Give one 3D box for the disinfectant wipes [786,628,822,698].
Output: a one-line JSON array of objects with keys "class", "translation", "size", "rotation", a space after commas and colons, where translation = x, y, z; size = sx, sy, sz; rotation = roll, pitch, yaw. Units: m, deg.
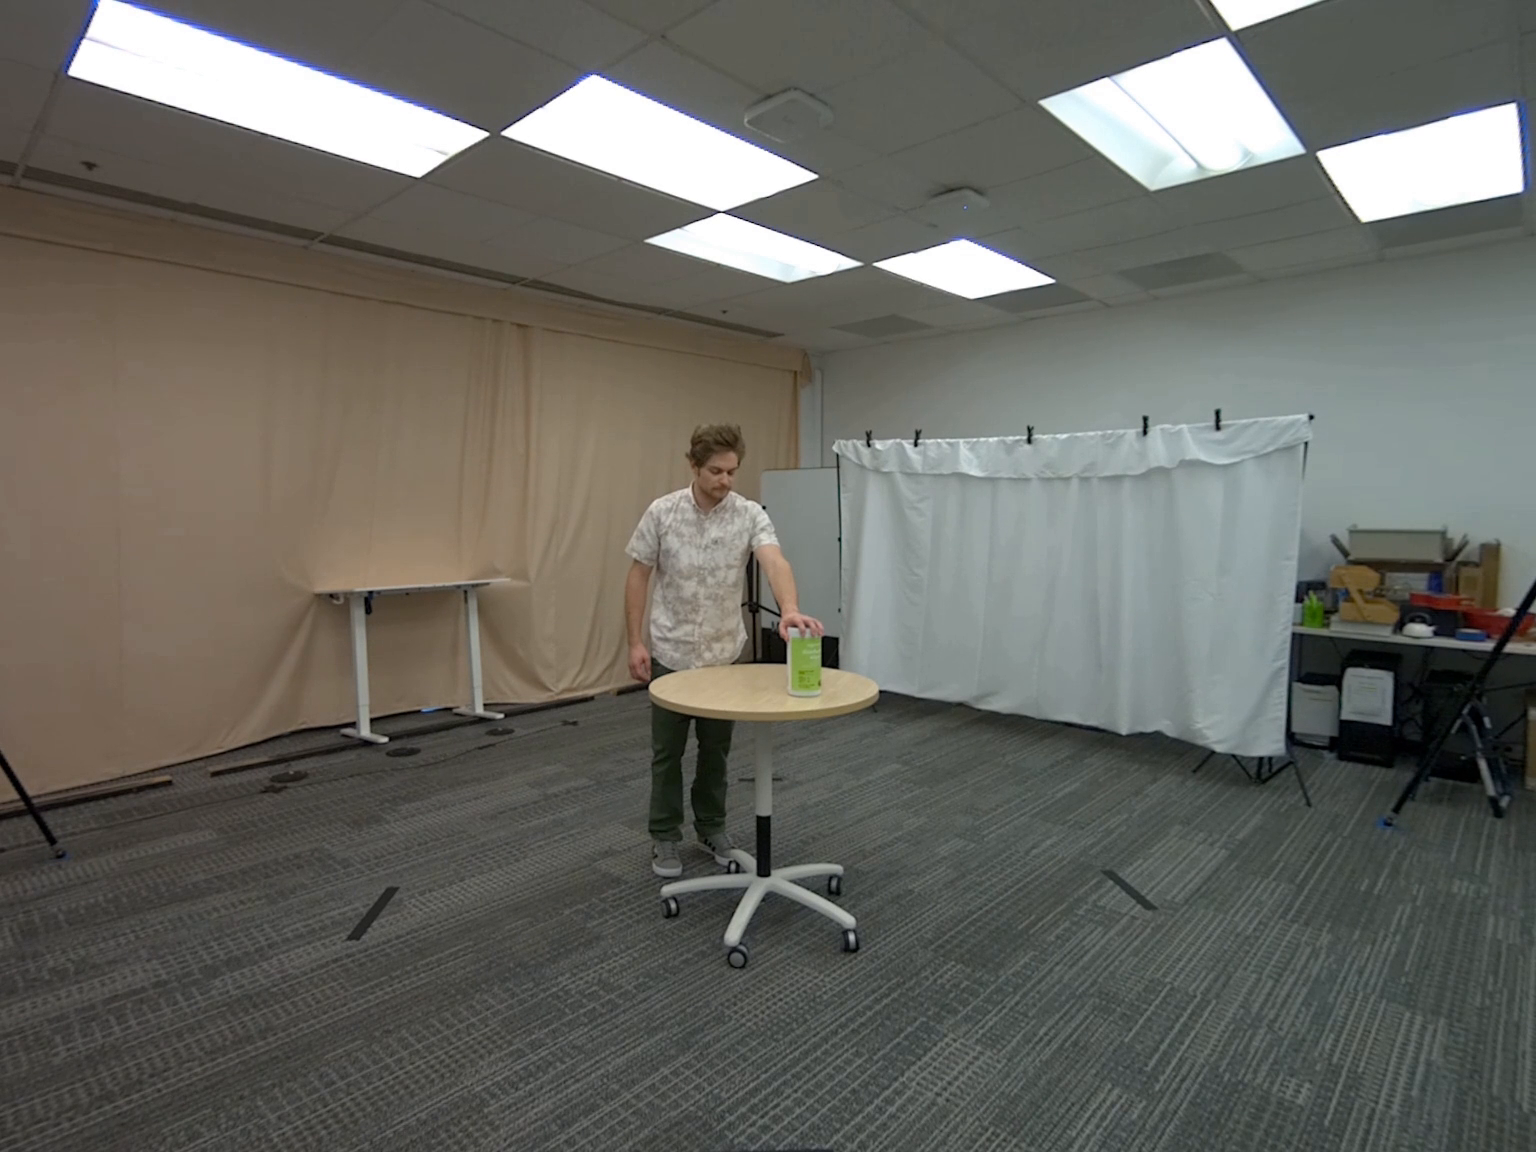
[{"class": "disinfectant wipes", "translation": [0.115, 0.271, 2.677], "size": [0.118, 0.217, 0.118], "rotation": [-1, 3, -2]}]
